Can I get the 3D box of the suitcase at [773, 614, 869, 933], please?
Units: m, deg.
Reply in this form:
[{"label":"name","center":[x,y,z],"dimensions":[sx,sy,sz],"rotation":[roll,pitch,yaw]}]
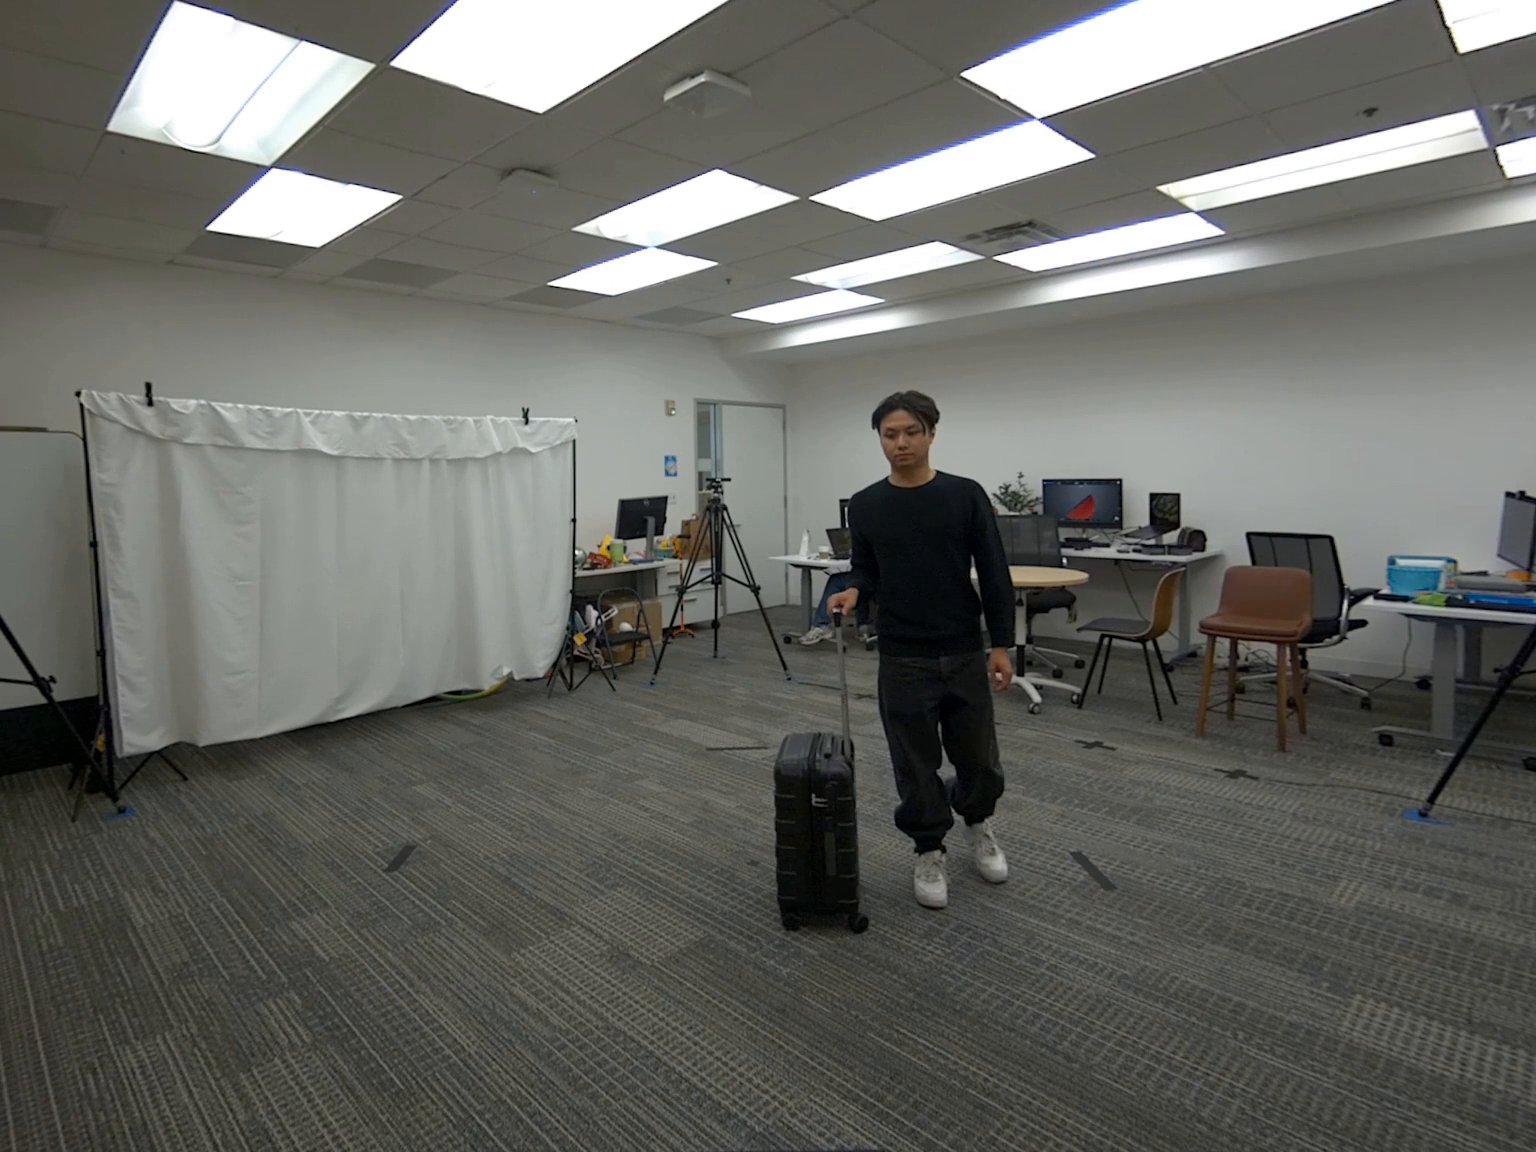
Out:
[{"label":"suitcase","center":[0.148,0.601,2.748],"dimensions":[0.259,0.975,0.382],"rotation":[-5,4,9]}]
